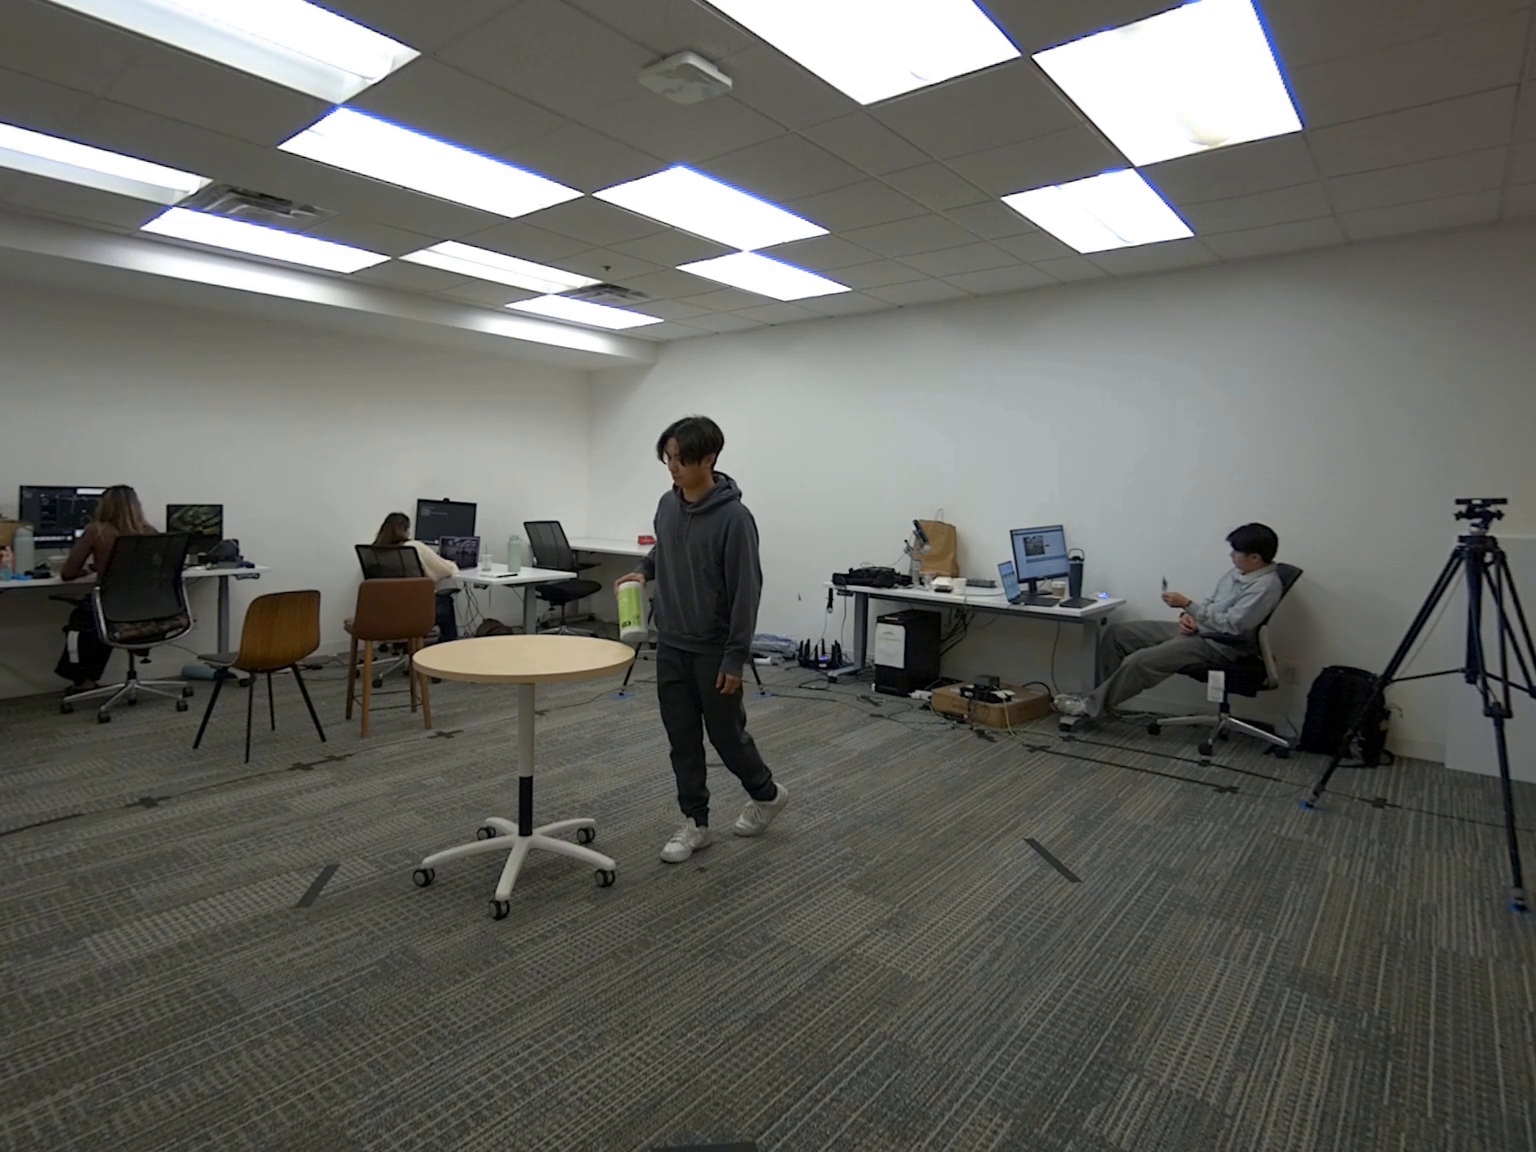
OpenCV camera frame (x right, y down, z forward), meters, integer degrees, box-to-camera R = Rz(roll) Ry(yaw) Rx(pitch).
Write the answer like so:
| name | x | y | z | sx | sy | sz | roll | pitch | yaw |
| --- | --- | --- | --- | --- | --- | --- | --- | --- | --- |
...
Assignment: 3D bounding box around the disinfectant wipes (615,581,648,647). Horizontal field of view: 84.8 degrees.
| name | x | y | z | sx | sy | sz | roll | pitch | yaw |
| --- | --- | --- | --- | --- | --- | --- | --- | --- | --- |
| disinfectant wipes | -0.536 | 0.138 | 3.307 | 0.117 | 0.223 | 0.115 | -5 | -26 | -4 |
